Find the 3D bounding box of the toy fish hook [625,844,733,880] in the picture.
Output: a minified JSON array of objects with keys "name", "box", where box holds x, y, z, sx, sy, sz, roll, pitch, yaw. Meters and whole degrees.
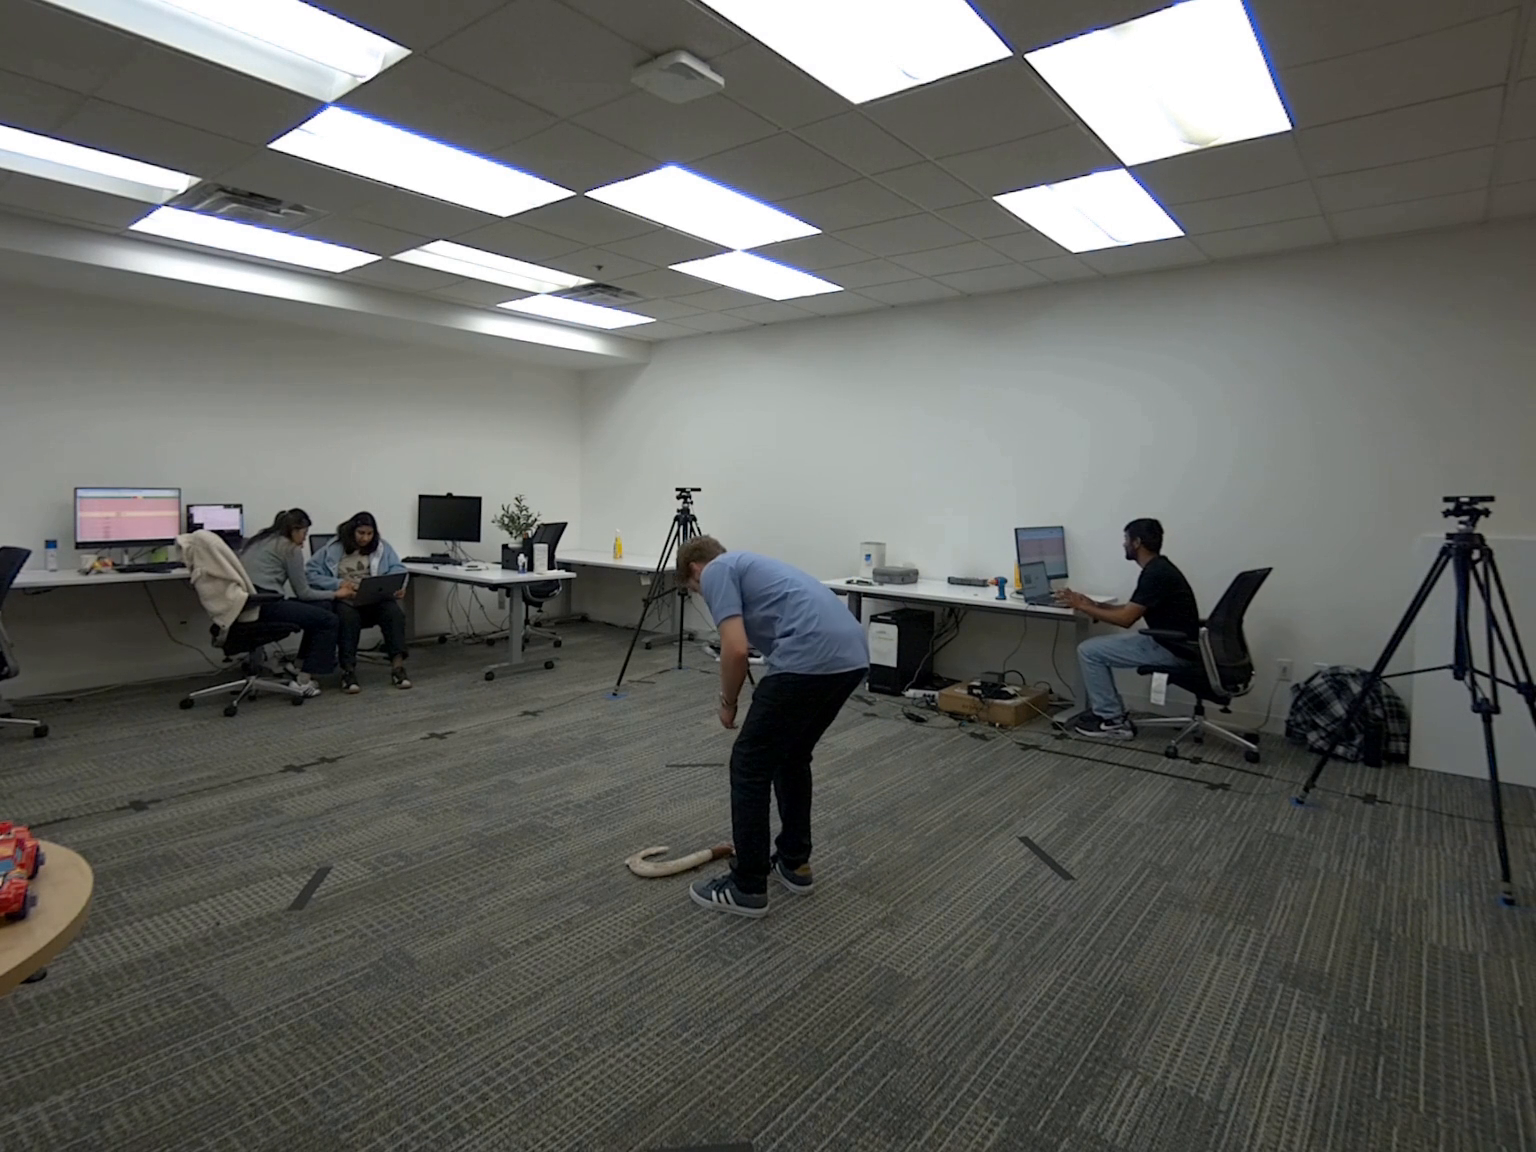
[{"name":"toy fish hook","box":[-0.293,1.036,3.194,0.493,0.048,0.232,-2,8,-29]}]
